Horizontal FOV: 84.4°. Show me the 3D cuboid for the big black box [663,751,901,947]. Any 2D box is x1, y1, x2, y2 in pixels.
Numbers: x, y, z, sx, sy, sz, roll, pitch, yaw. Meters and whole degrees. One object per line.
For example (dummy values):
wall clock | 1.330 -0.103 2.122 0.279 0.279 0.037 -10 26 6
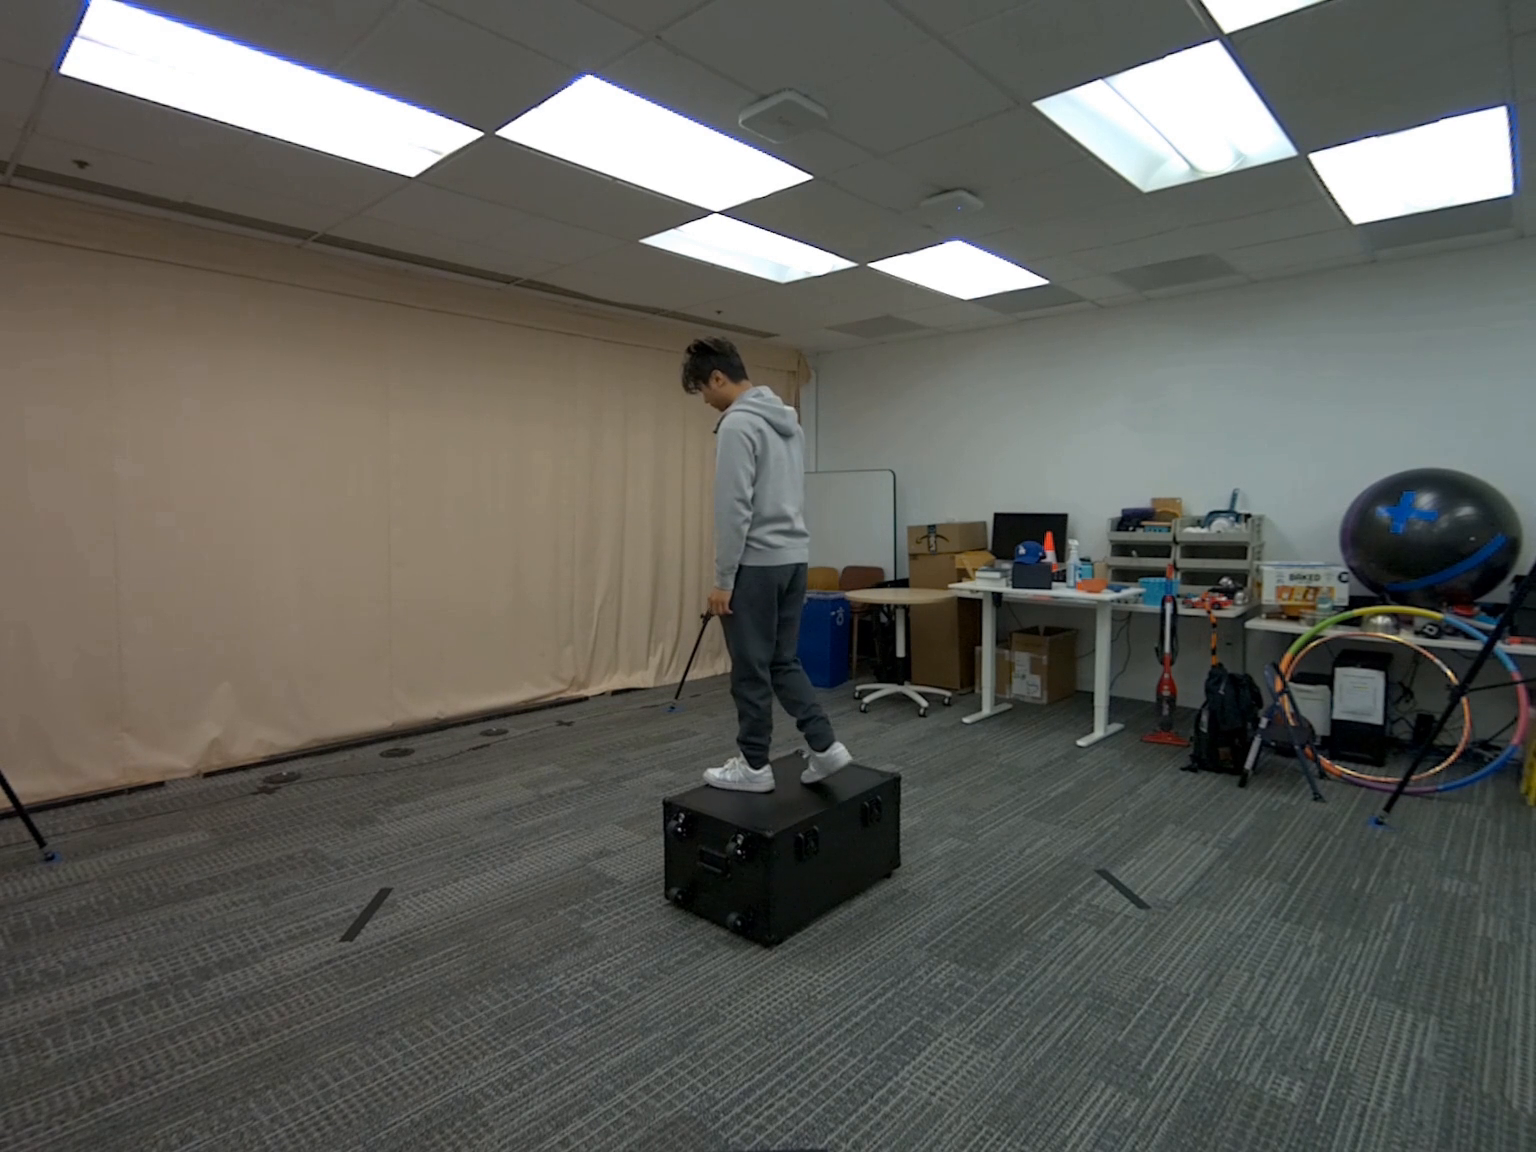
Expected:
big black box | 0.049 0.949 3.037 0.538 0.395 0.835 3 5 41
